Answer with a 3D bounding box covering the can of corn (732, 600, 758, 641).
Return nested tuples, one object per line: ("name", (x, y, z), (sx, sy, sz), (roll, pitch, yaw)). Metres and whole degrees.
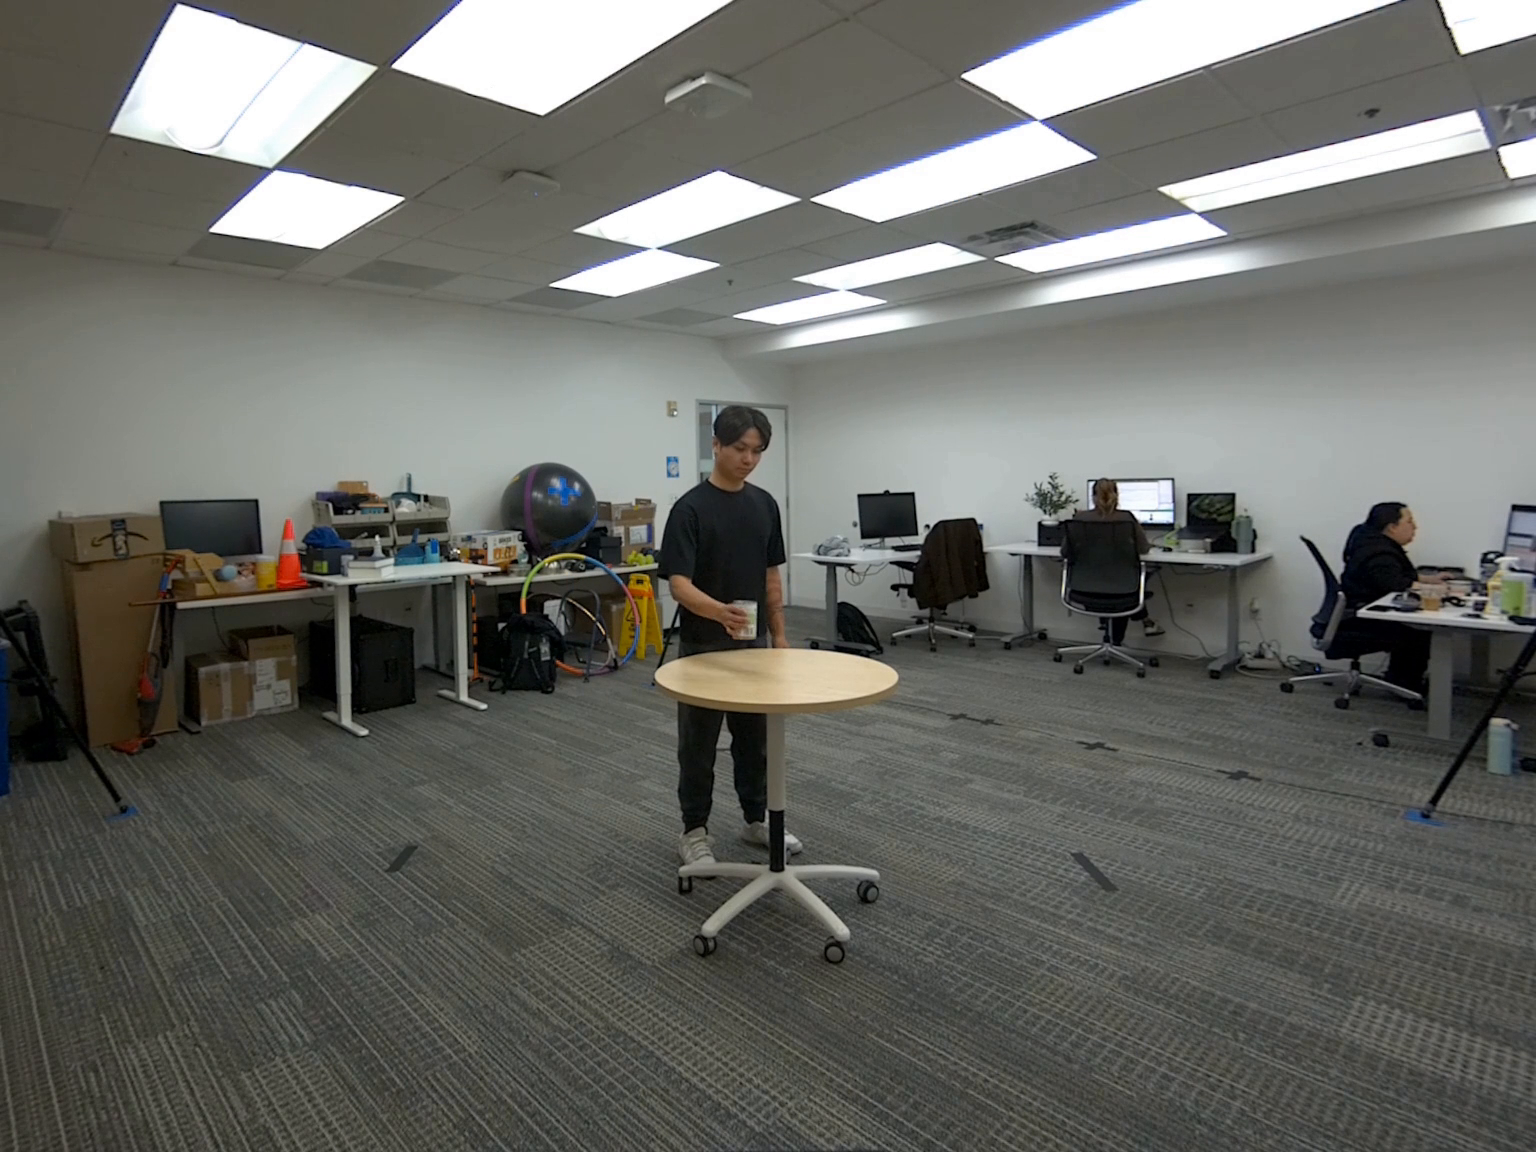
("can of corn", (-0.074, 0.140, 2.637), (0.074, 0.111, 0.074), (-2, -1, -2))
